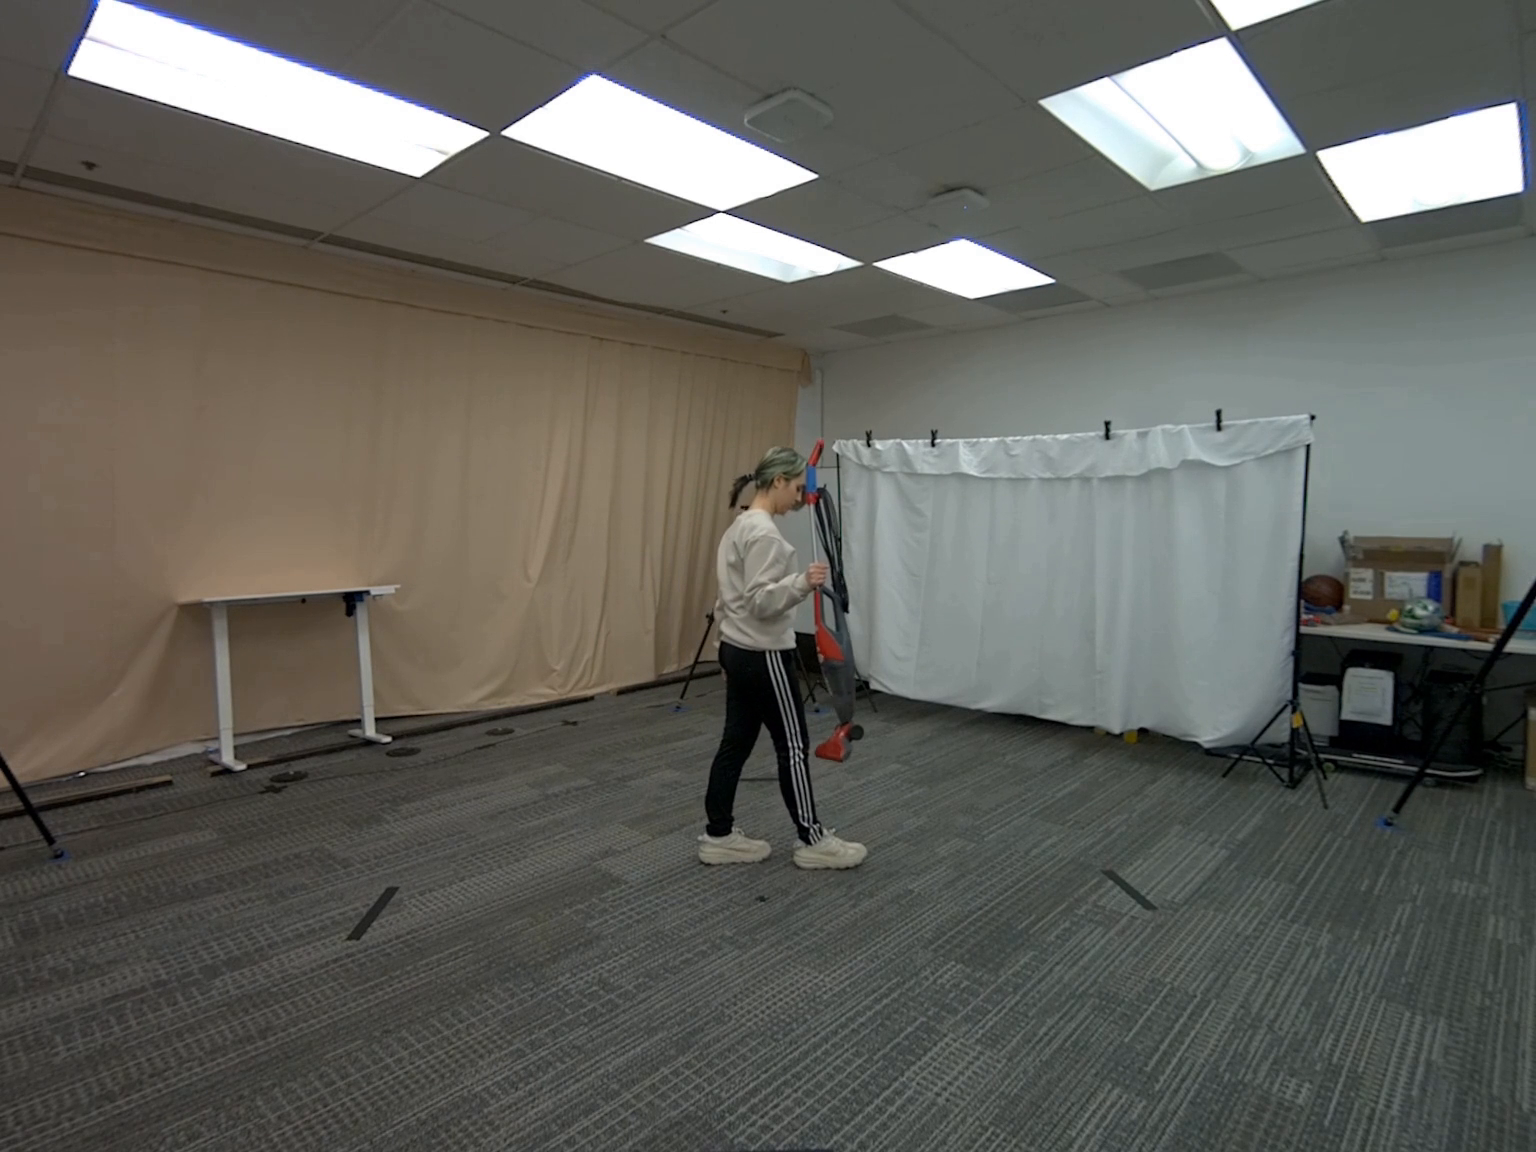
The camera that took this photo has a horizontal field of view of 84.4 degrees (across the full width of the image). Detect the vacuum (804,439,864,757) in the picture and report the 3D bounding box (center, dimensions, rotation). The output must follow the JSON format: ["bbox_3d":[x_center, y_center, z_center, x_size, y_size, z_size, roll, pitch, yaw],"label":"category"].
[{"bbox_3d":[0.223,0.044,2.913,0.141,1.056,0.256,0,-10,-20],"label":"vacuum"}]
